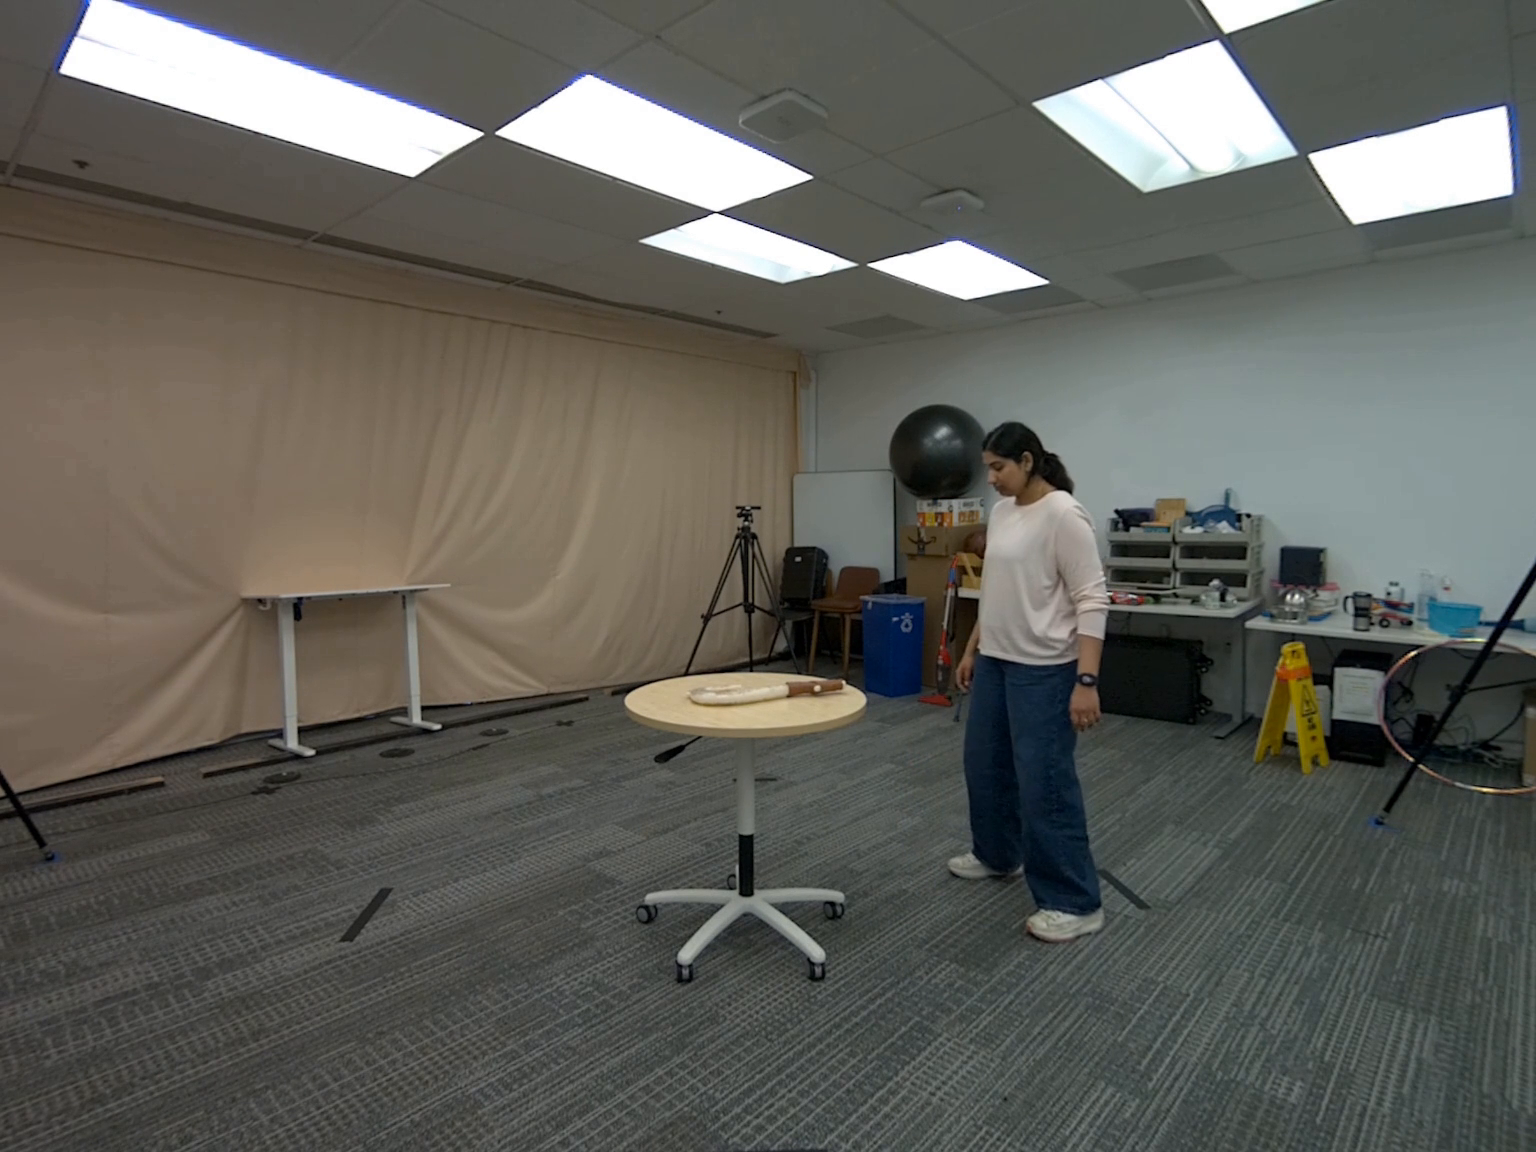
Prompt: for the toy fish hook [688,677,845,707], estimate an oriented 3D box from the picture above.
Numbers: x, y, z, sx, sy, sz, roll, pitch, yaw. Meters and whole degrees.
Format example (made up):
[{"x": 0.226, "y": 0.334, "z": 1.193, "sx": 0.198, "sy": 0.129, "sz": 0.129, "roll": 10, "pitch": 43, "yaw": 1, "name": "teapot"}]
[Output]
[{"x": -0.002, "y": 0.367, "z": 2.694, "sx": 0.500, "sy": 0.048, "sz": 0.228, "roll": -2, "pitch": 6, "yaw": -13, "name": "toy fish hook"}]
